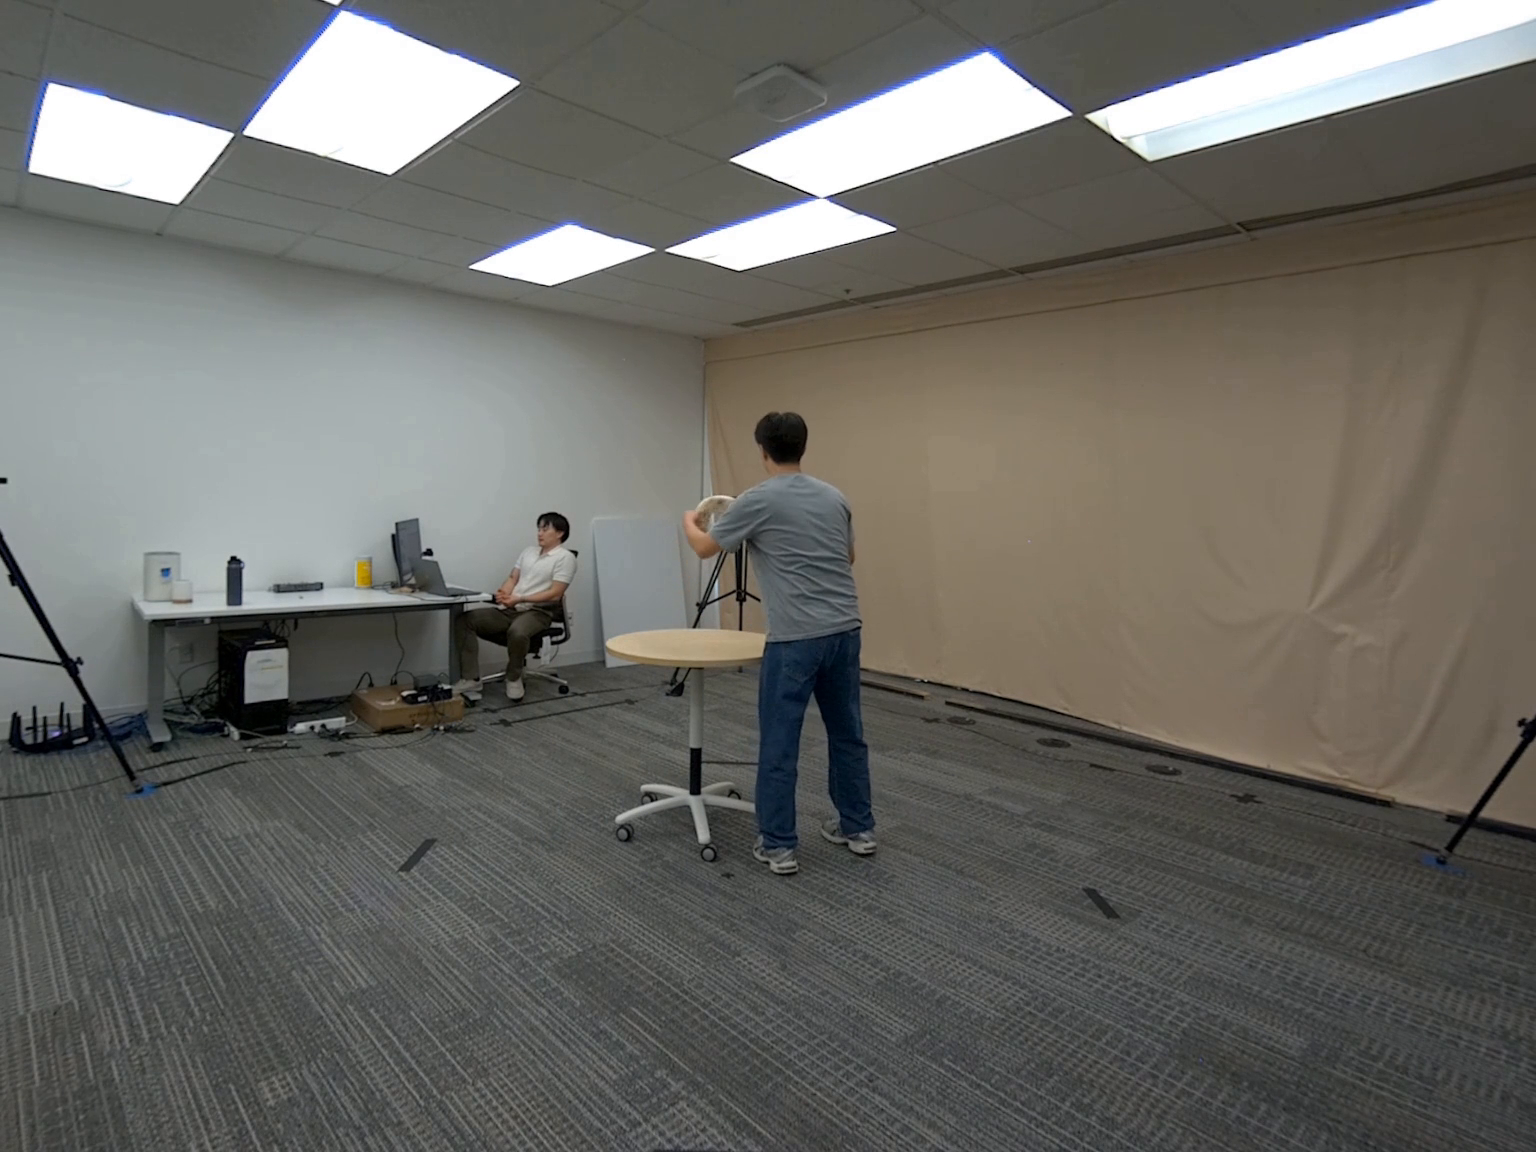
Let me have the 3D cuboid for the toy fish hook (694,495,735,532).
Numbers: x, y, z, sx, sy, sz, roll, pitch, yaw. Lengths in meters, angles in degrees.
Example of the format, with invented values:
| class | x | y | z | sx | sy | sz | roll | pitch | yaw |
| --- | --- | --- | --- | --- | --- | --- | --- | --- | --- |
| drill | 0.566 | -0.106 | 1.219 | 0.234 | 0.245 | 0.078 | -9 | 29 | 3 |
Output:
| class | x | y | z | sx | sy | sz | roll | pitch | yaw |
| --- | --- | --- | --- | --- | --- | --- | --- | --- | --- |
| toy fish hook | -0.075 | -0.211 | 3.701 | 0.502 | 0.223 | 0.049 | 4 | 9 | -11 |
